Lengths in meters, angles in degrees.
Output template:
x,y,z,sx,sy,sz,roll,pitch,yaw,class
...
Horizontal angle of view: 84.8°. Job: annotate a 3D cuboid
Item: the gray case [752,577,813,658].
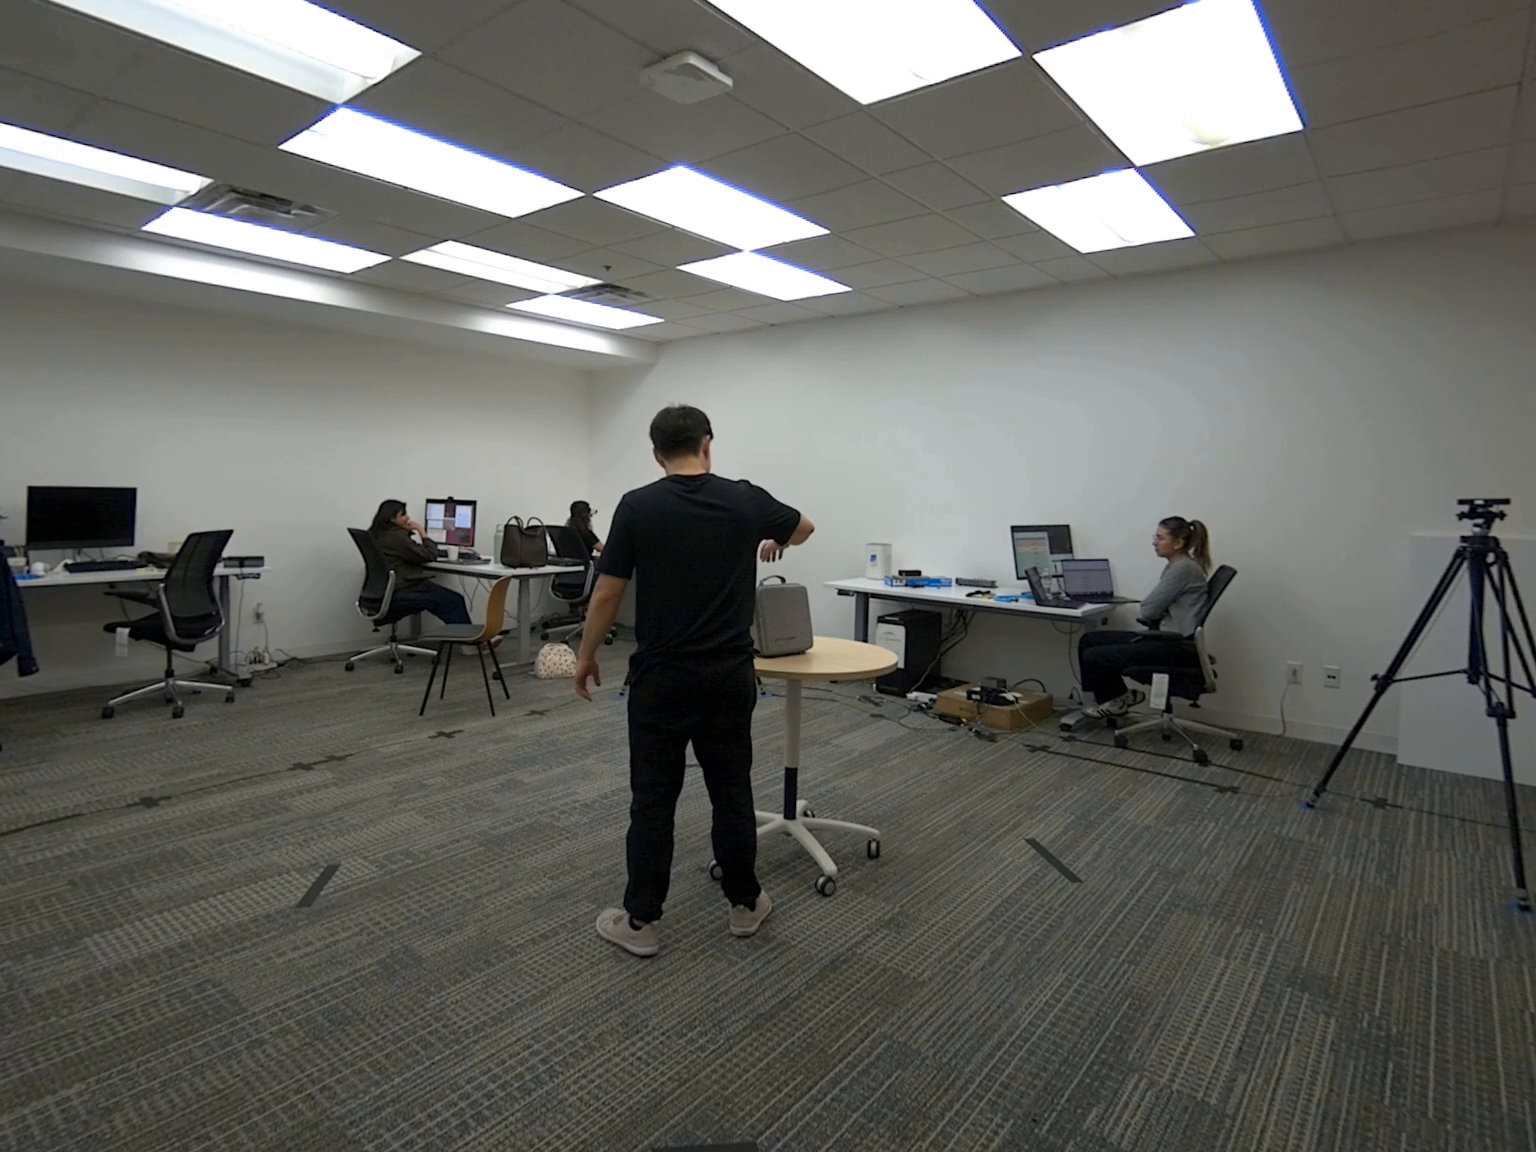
x,y,z,sx,sy,sz,roll,pitch,yaw,class
0.034,0.155,3.158,0.249,0.262,0.107,-1,-8,-39,gray case
